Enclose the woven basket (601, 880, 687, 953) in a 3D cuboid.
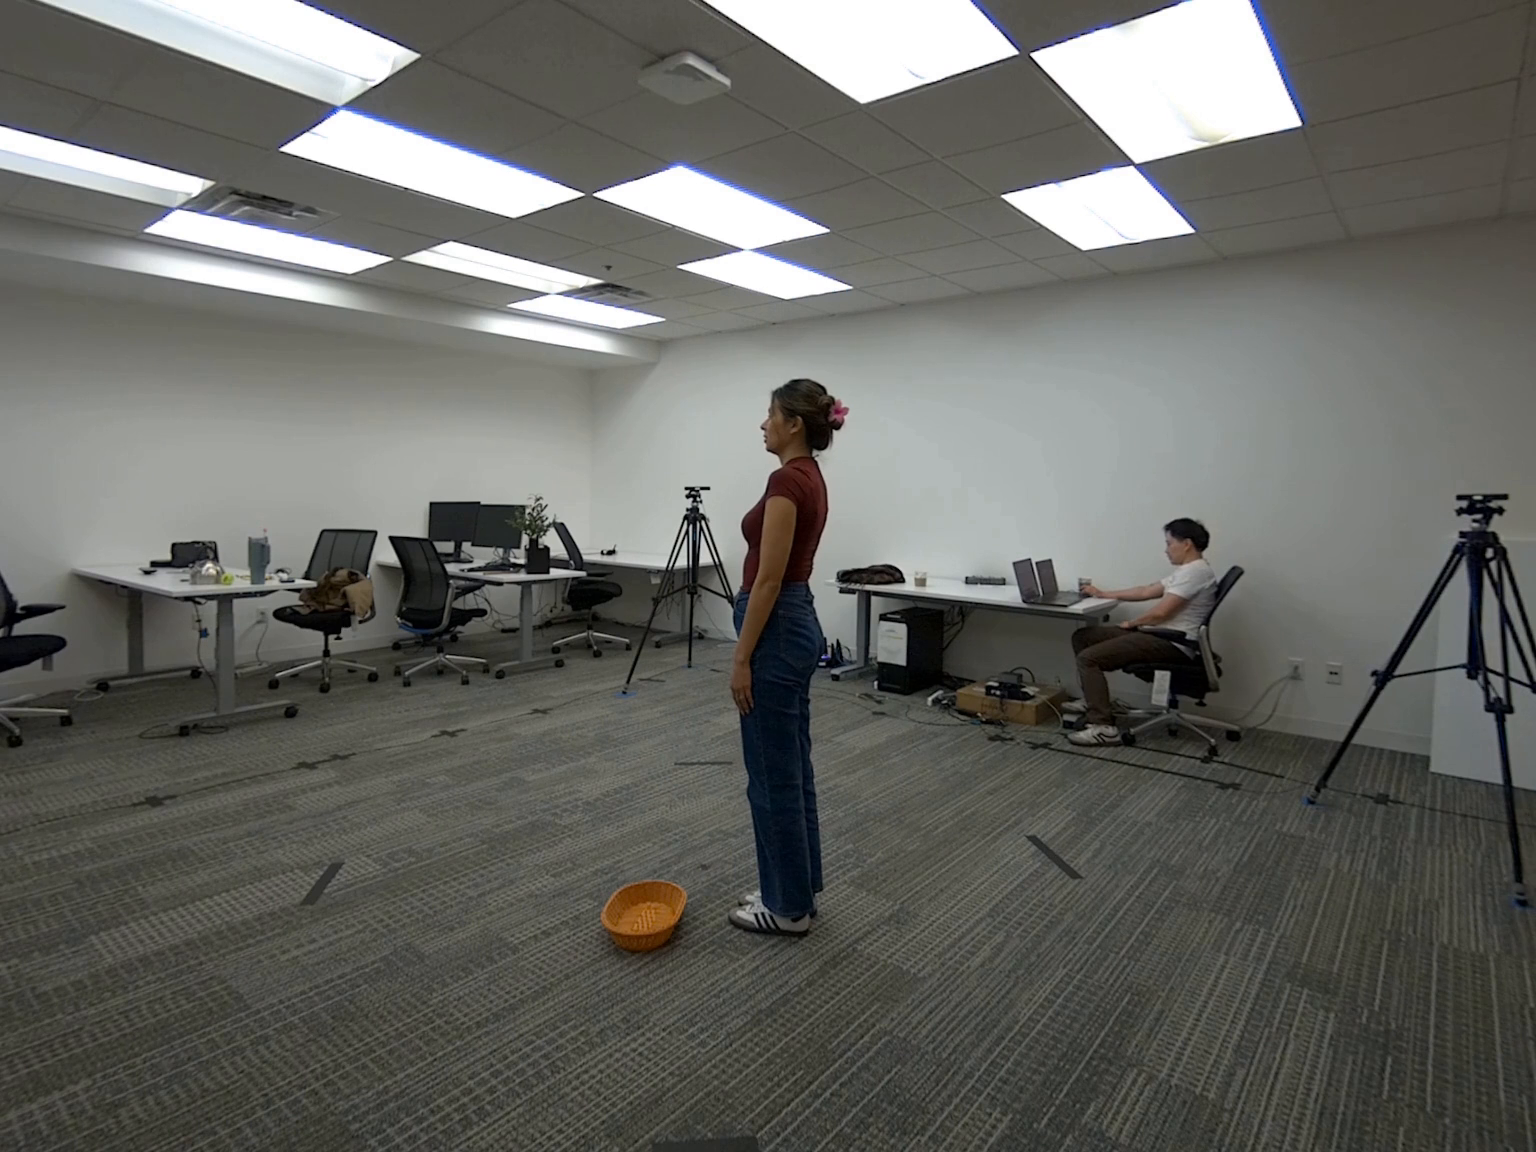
[{"bbox_3d":[-0.403,1.080,2.684,0.255,0.073,0.348,-1,5,9],"label":"woven basket"}]
